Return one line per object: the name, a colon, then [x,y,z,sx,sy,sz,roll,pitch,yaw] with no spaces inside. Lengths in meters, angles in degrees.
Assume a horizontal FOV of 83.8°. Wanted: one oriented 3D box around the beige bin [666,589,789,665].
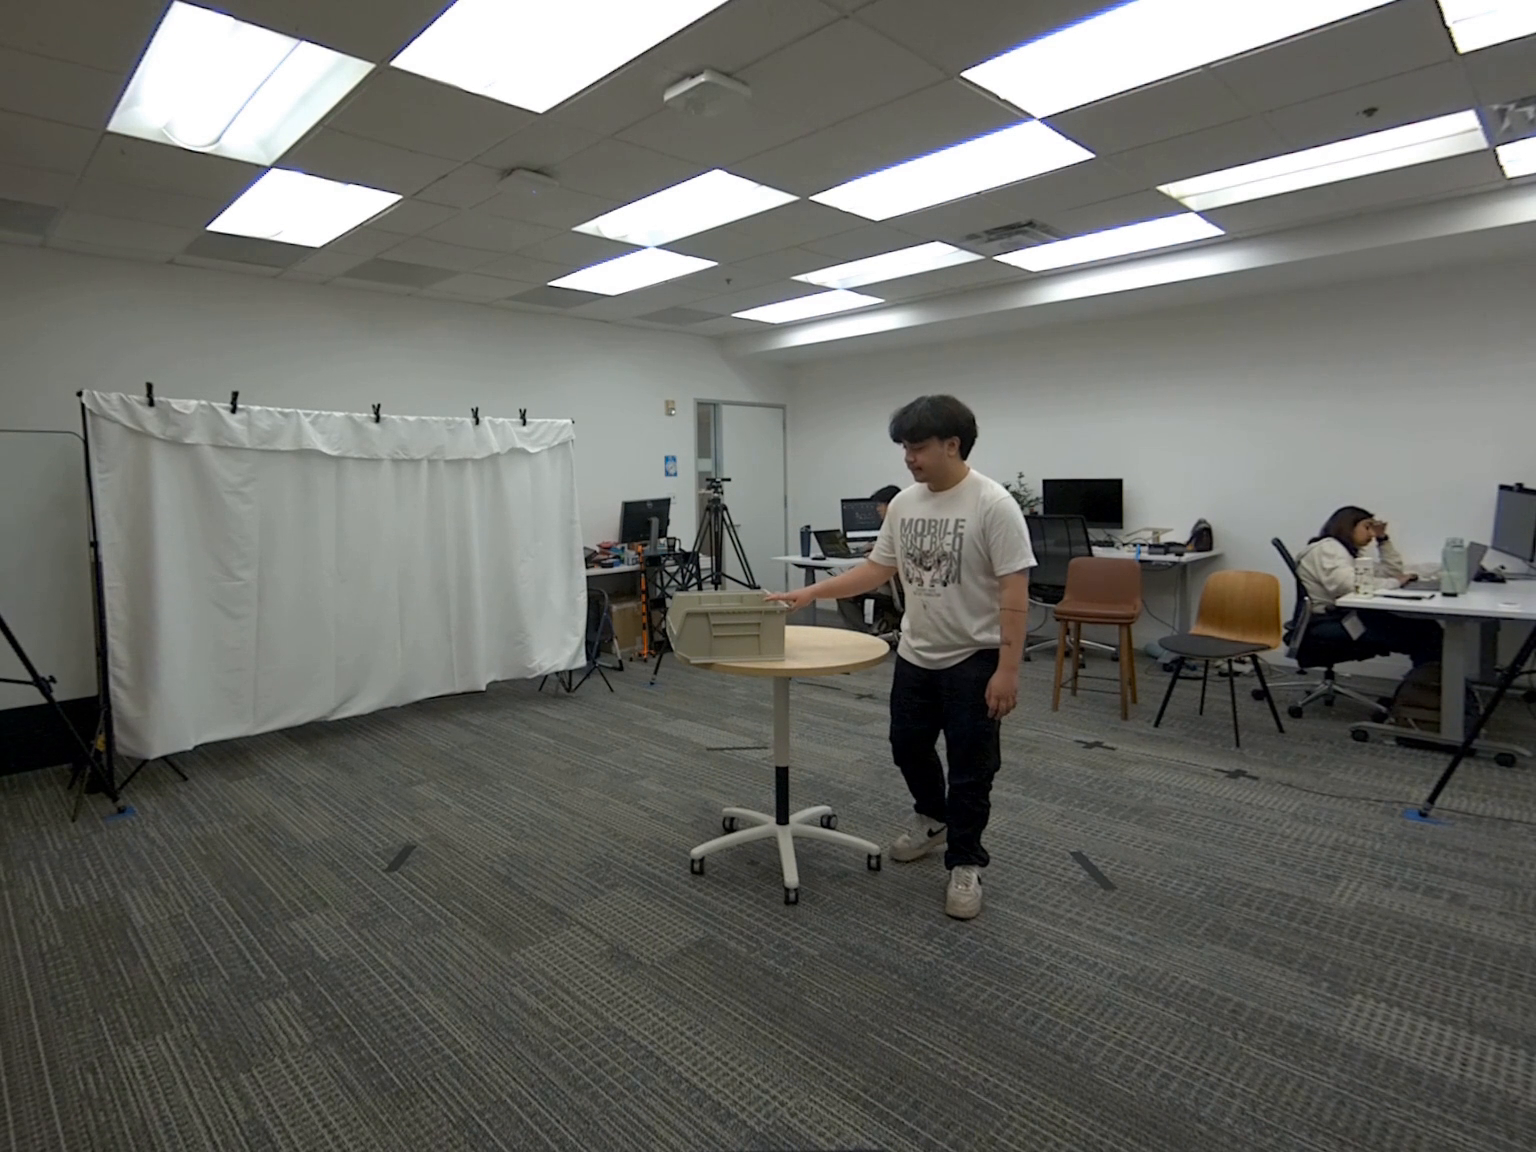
beige bin: [-0.151,0.172,2.971,0.374,0.188,0.428,-1,6,-11]
